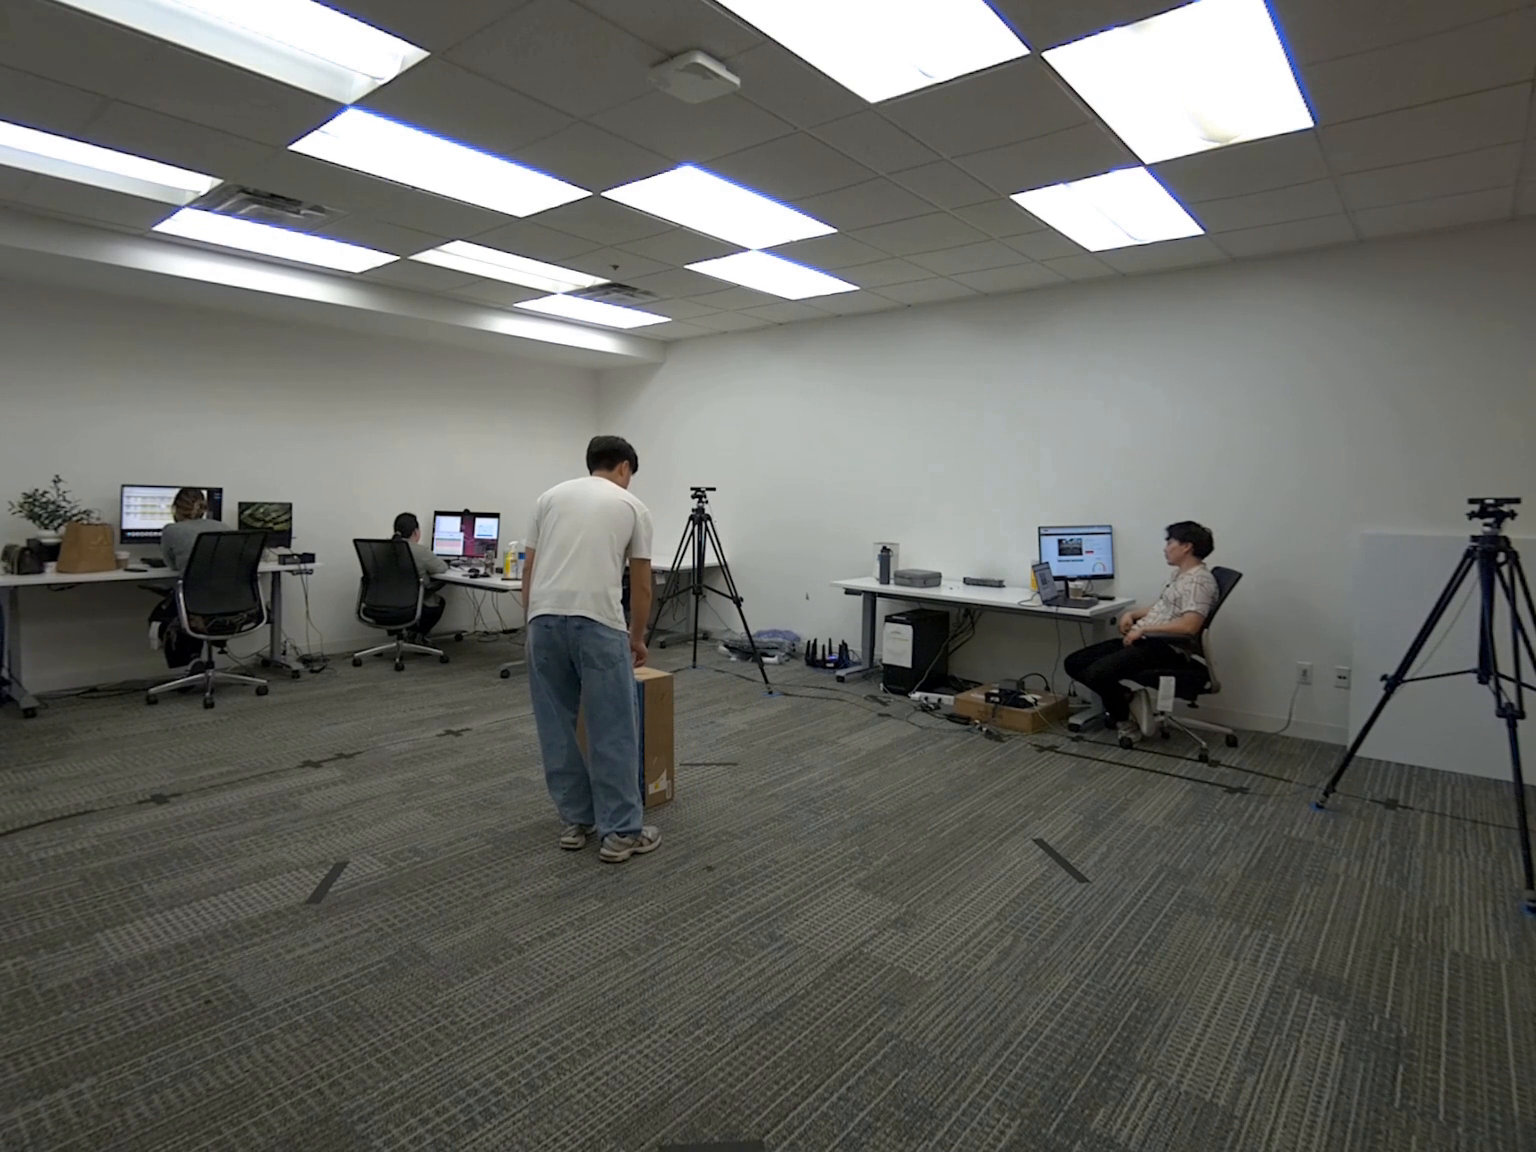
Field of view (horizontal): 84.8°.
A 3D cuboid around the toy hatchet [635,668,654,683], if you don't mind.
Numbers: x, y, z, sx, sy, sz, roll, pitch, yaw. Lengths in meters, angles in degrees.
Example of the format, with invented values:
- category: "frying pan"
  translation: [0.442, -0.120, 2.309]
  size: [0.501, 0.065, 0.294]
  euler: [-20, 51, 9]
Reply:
- category: "toy hatchet"
  translation: [-0.628, 0.421, 3.692]
  size: [0.127, 0.029, 0.279]
  euler: [1, 5, -35]
